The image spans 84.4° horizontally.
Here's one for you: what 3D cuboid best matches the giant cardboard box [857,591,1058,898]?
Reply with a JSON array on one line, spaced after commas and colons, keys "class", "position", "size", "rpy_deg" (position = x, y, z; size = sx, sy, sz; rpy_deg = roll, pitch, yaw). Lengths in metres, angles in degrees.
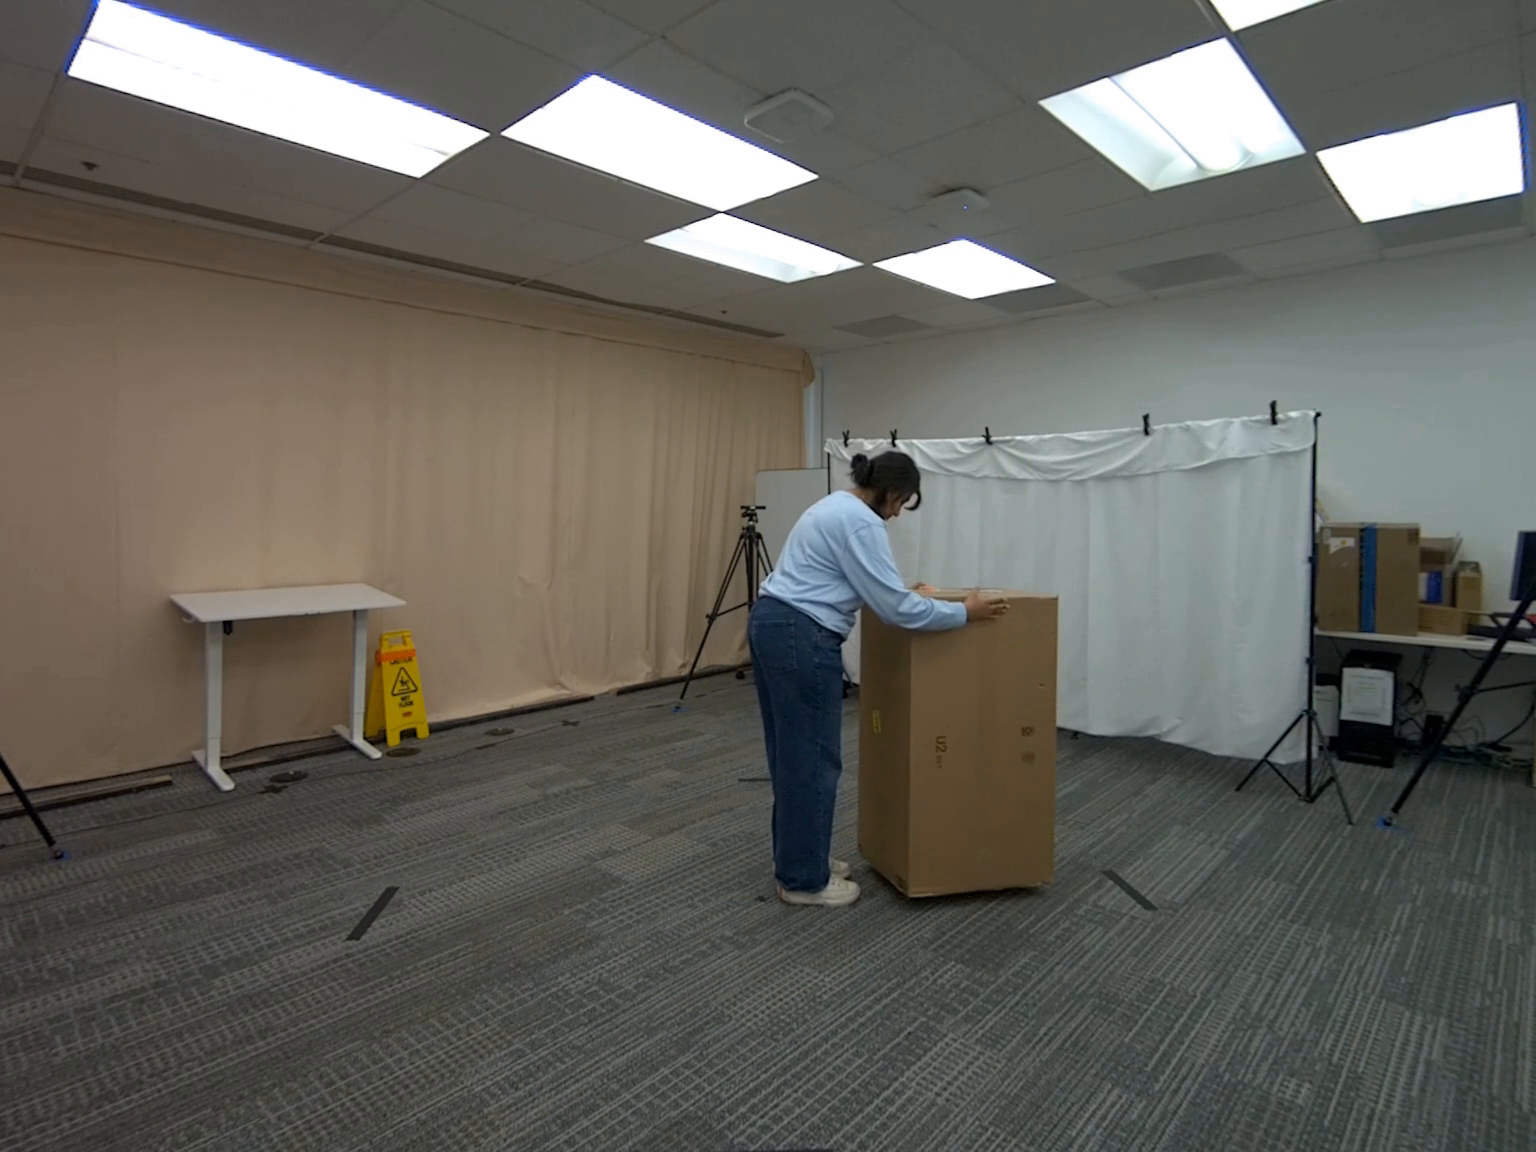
[{"class": "giant cardboard box", "position": [0.696, 0.572, 3.119], "size": [0.575, 1.026, 0.454], "rpy_deg": [0, 1, -15]}]
